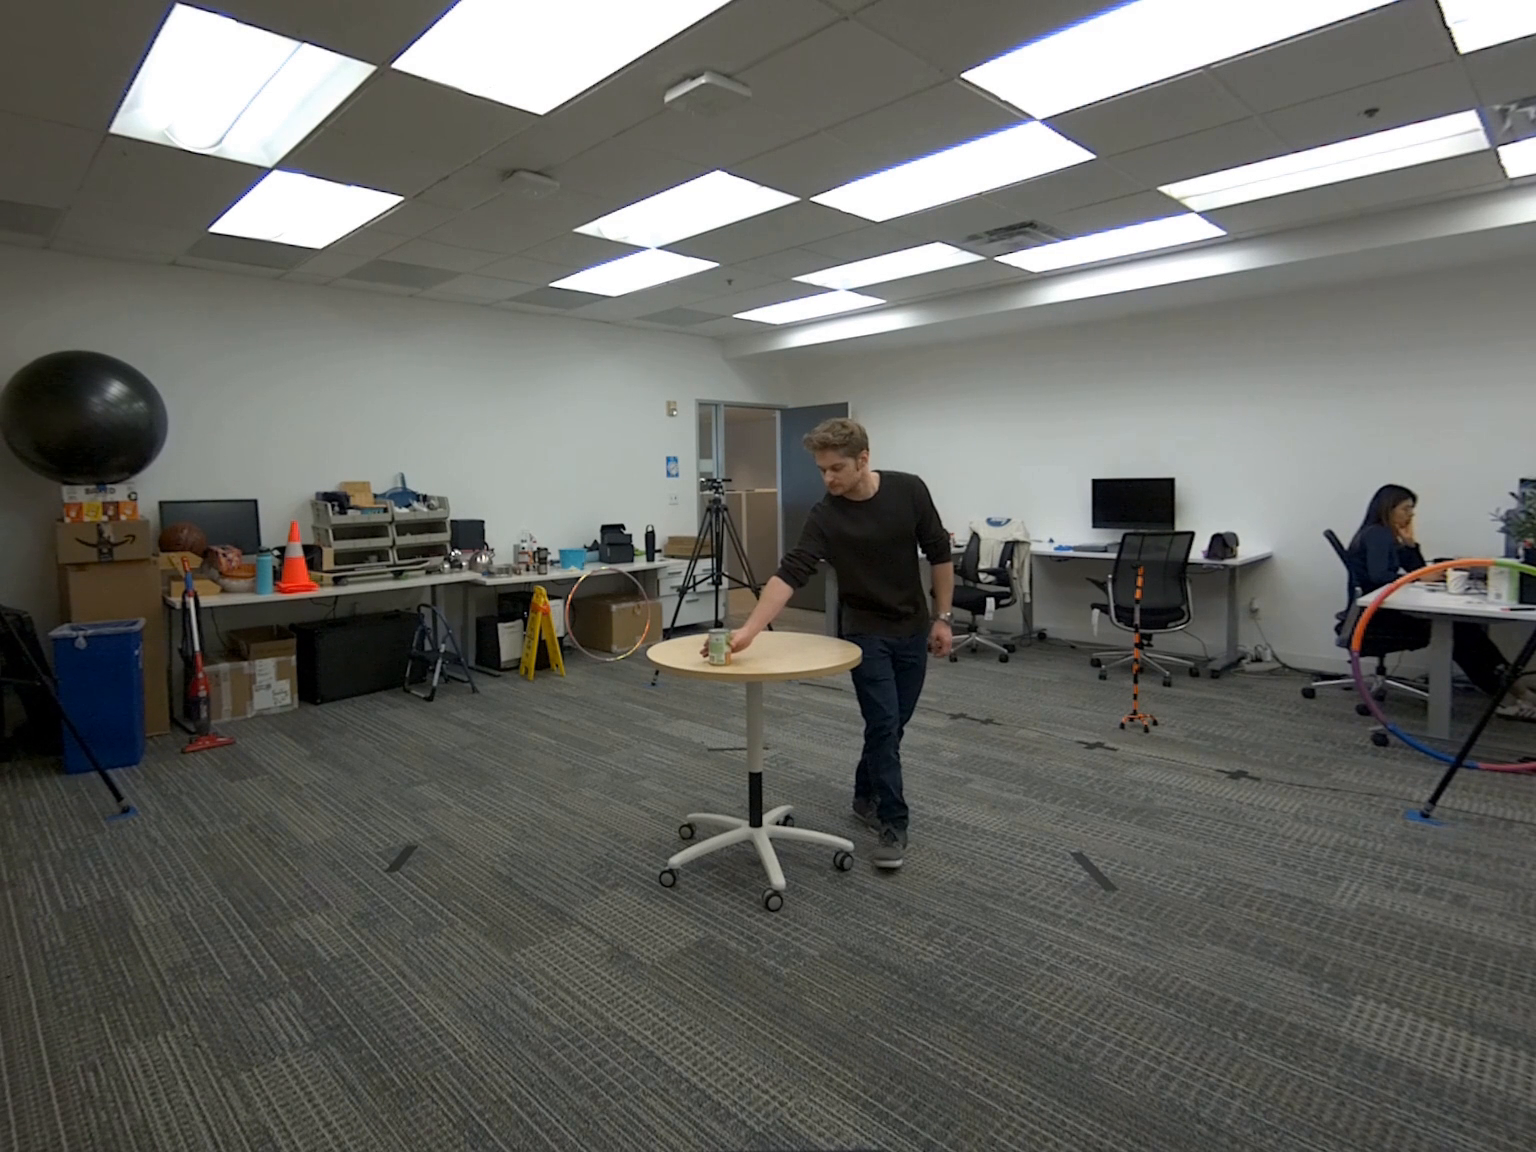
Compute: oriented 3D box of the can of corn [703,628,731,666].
[{"bbox_3d":[-0.154,0.239,2.818,0.074,0.111,0.074,-5,3,-1],"label":"can of corn"}]
